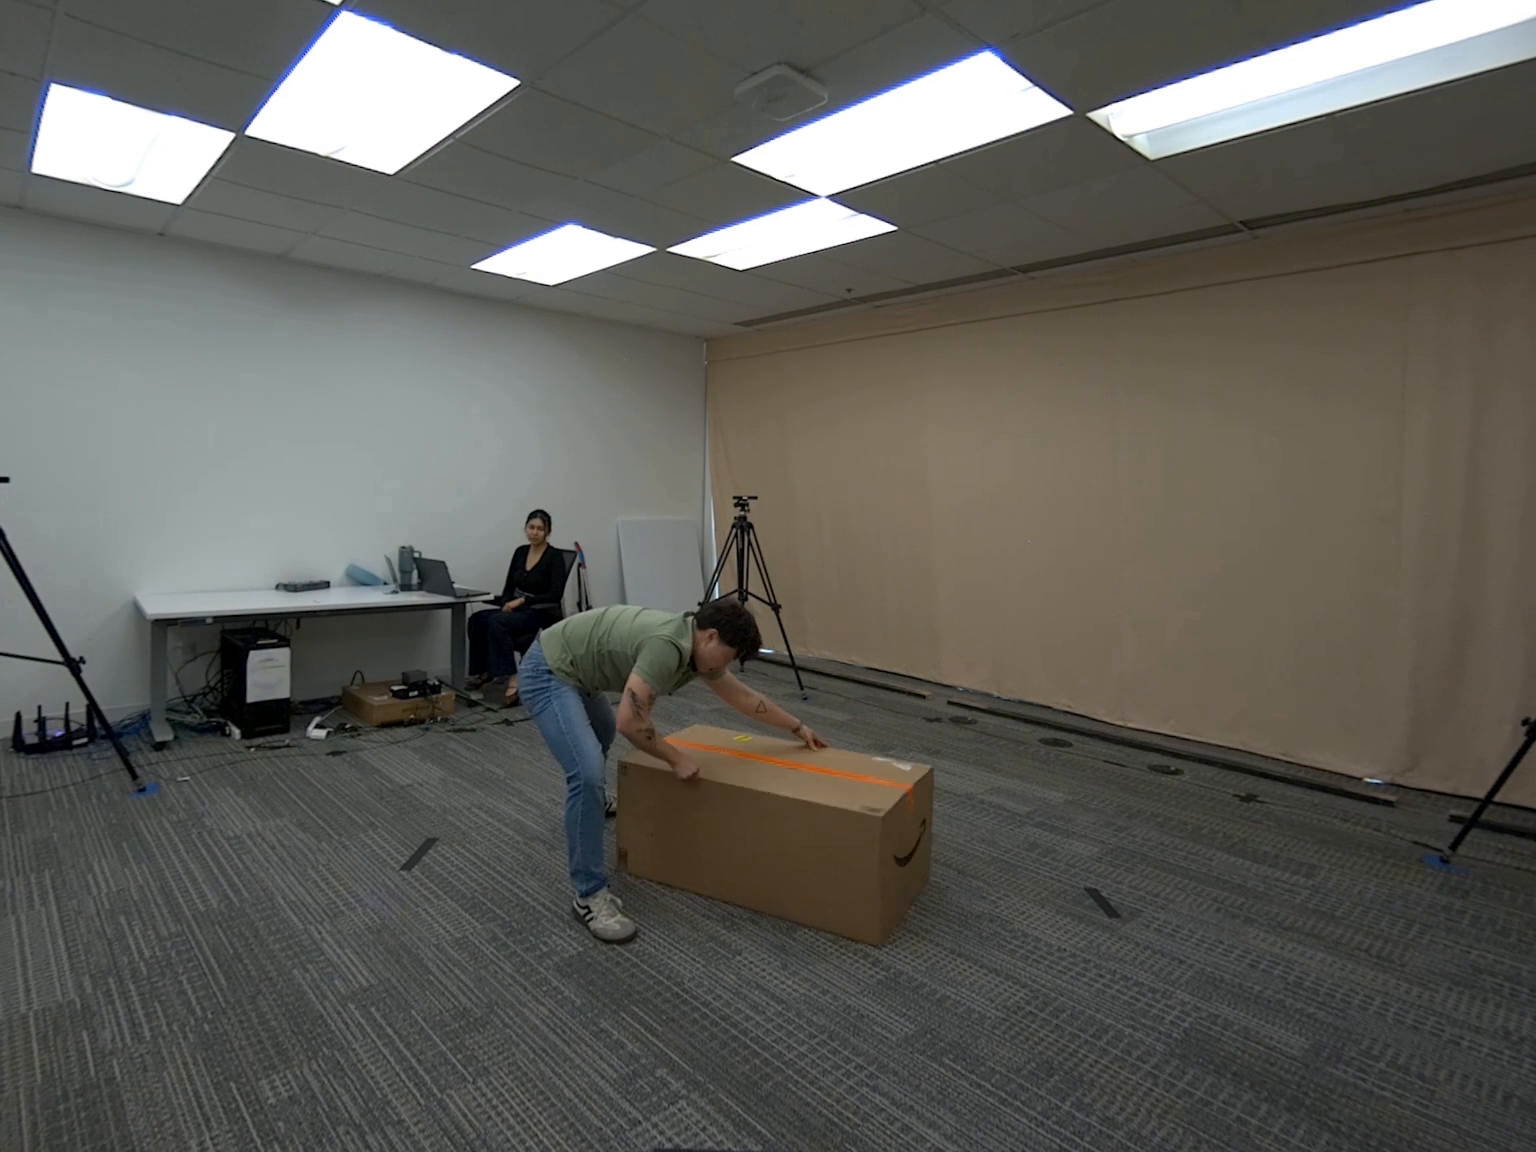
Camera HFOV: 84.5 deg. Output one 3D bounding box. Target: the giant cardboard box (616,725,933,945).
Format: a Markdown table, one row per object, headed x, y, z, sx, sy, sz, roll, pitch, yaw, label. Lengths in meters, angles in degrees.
| x | y | z | sx | sy | sz | roll | pitch | yaw | label |
| --- | --- | --- | --- | --- | --- | --- | --- | --- | --- |
| 0.015 | 0.890 | 3.109 | 1.048 | 0.425 | 0.567 | 4 | 5 | 28 | giant cardboard box |
